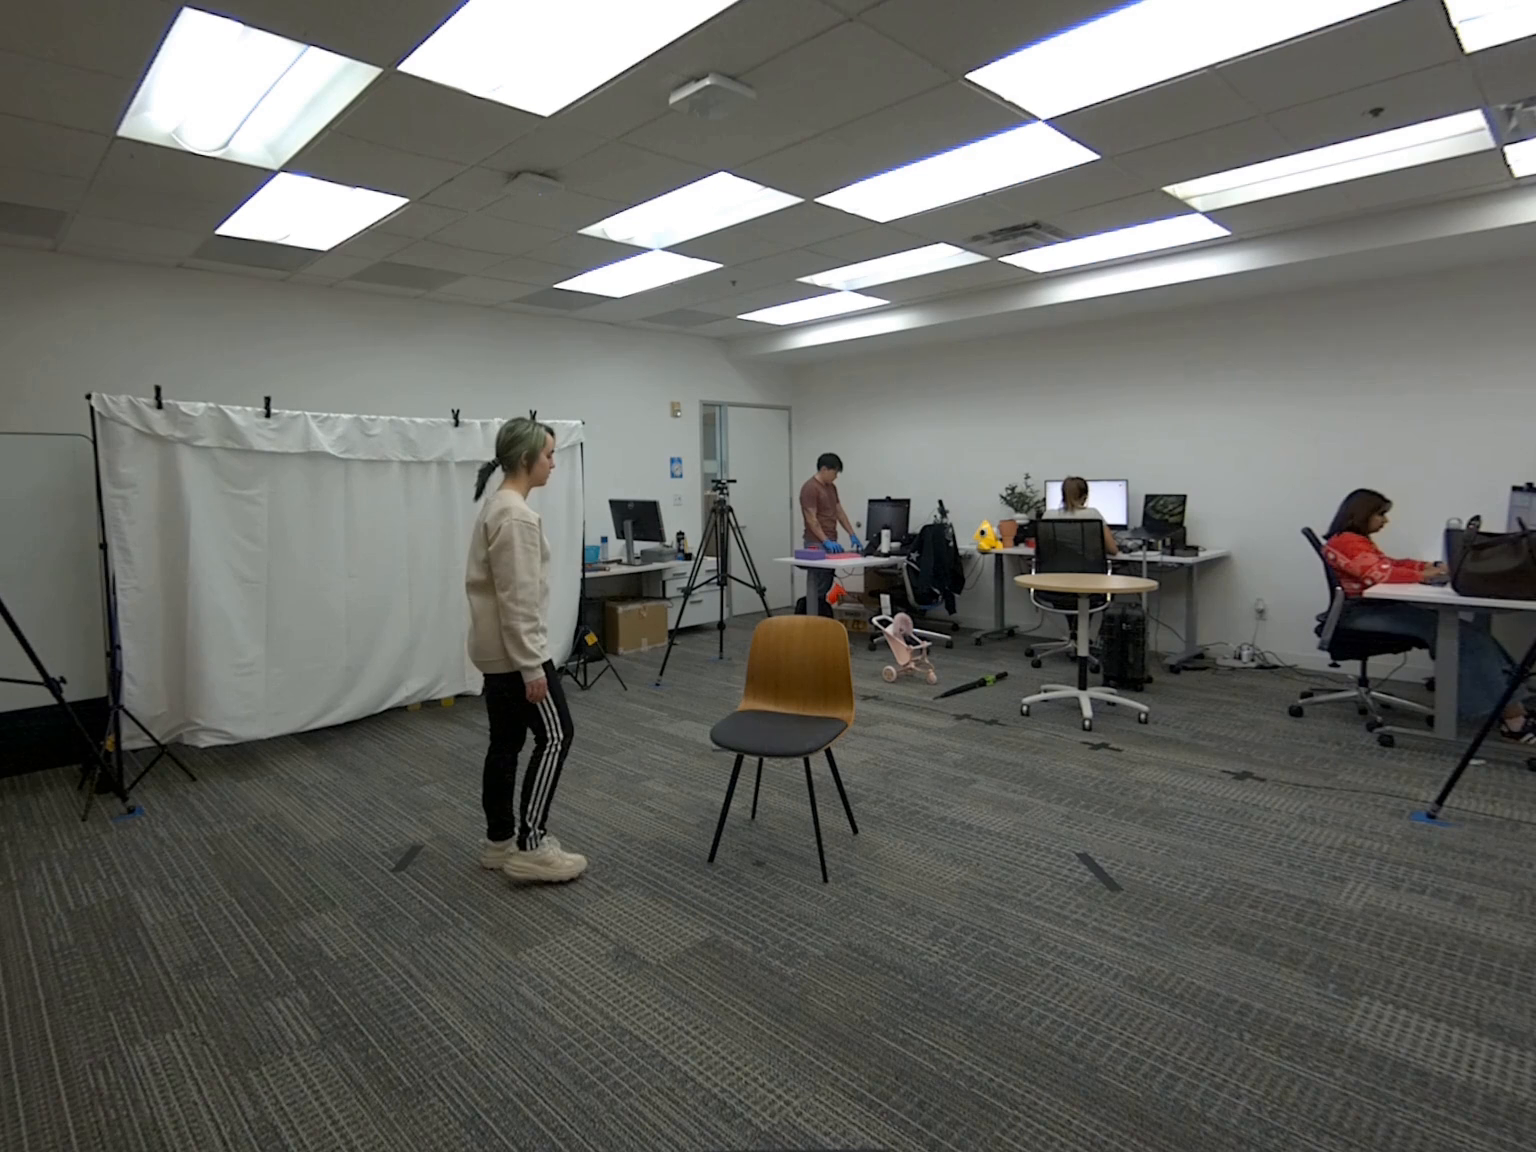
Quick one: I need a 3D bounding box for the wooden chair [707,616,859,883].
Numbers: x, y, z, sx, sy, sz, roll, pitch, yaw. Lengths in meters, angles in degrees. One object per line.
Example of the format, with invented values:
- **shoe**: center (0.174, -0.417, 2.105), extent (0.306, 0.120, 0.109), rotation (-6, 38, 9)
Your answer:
- **wooden chair**: center (0.059, 0.603, 3.195), extent (0.488, 0.877, 0.512), rotation (1, 0, 22)
